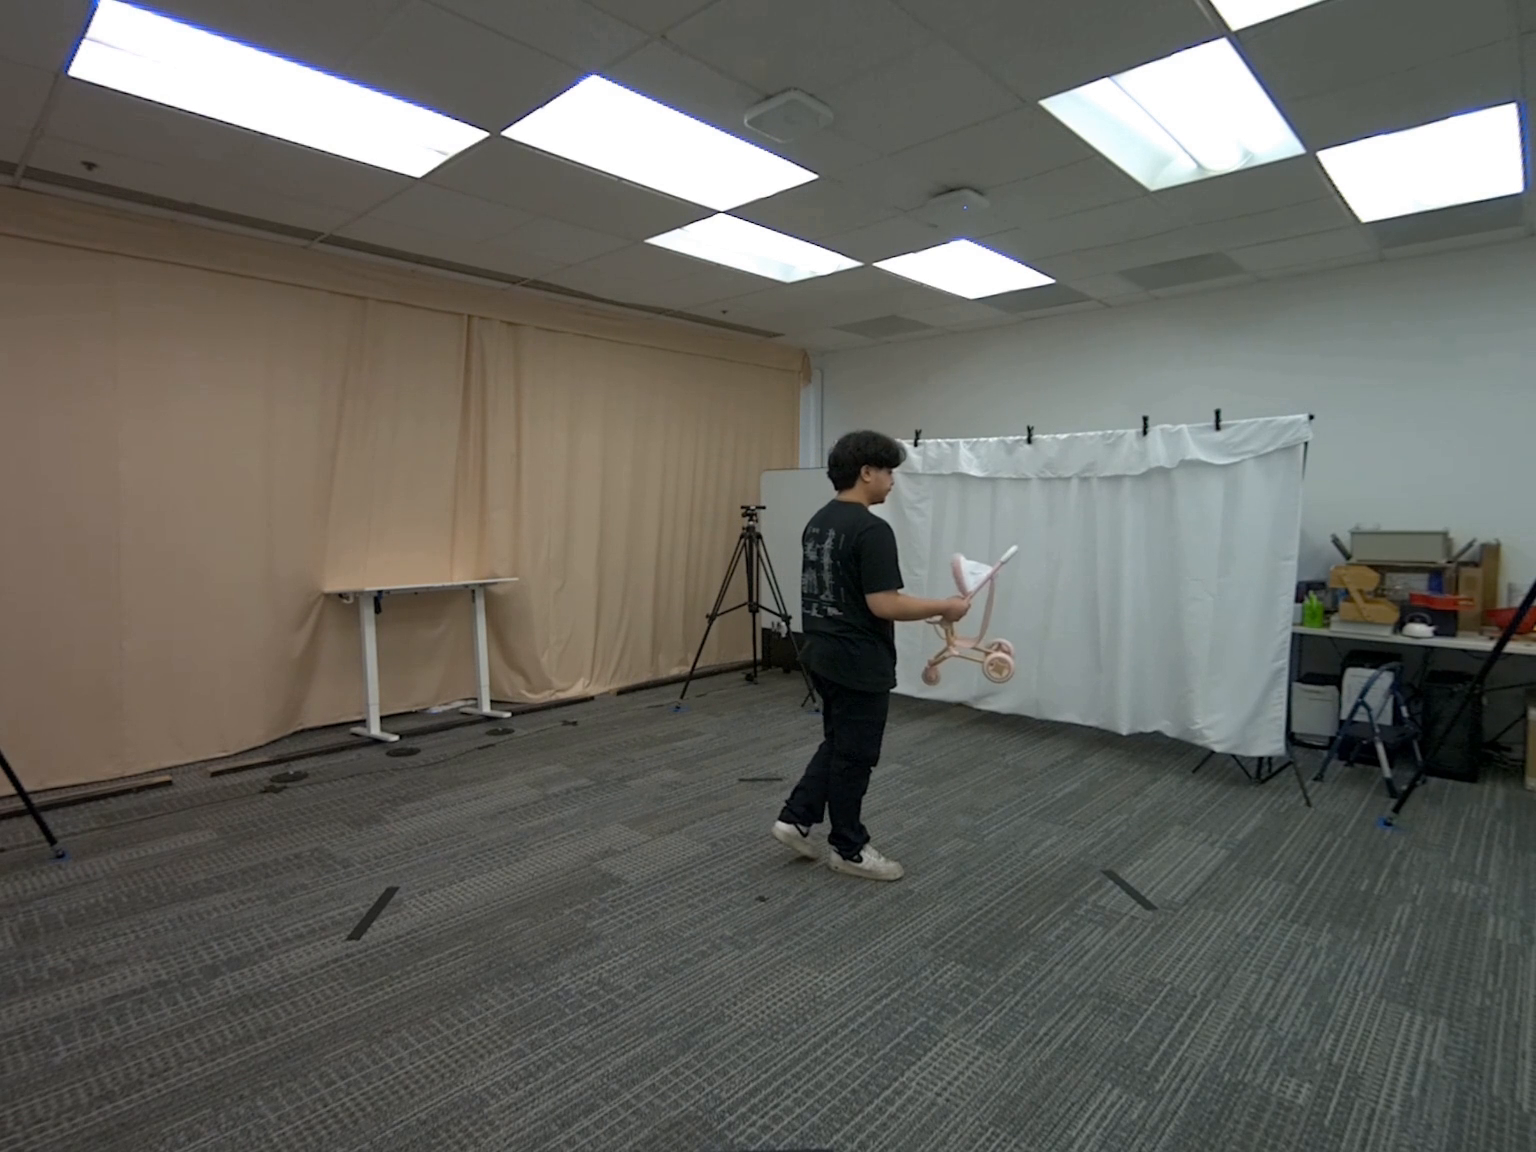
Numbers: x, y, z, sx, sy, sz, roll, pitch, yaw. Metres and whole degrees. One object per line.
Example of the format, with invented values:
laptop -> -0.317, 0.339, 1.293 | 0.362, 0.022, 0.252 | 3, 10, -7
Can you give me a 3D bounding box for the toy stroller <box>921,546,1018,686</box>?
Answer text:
toy stroller -> 0.751, 0.156, 3.125 | 0.350, 0.533, 0.276 | 2, 6, 23
